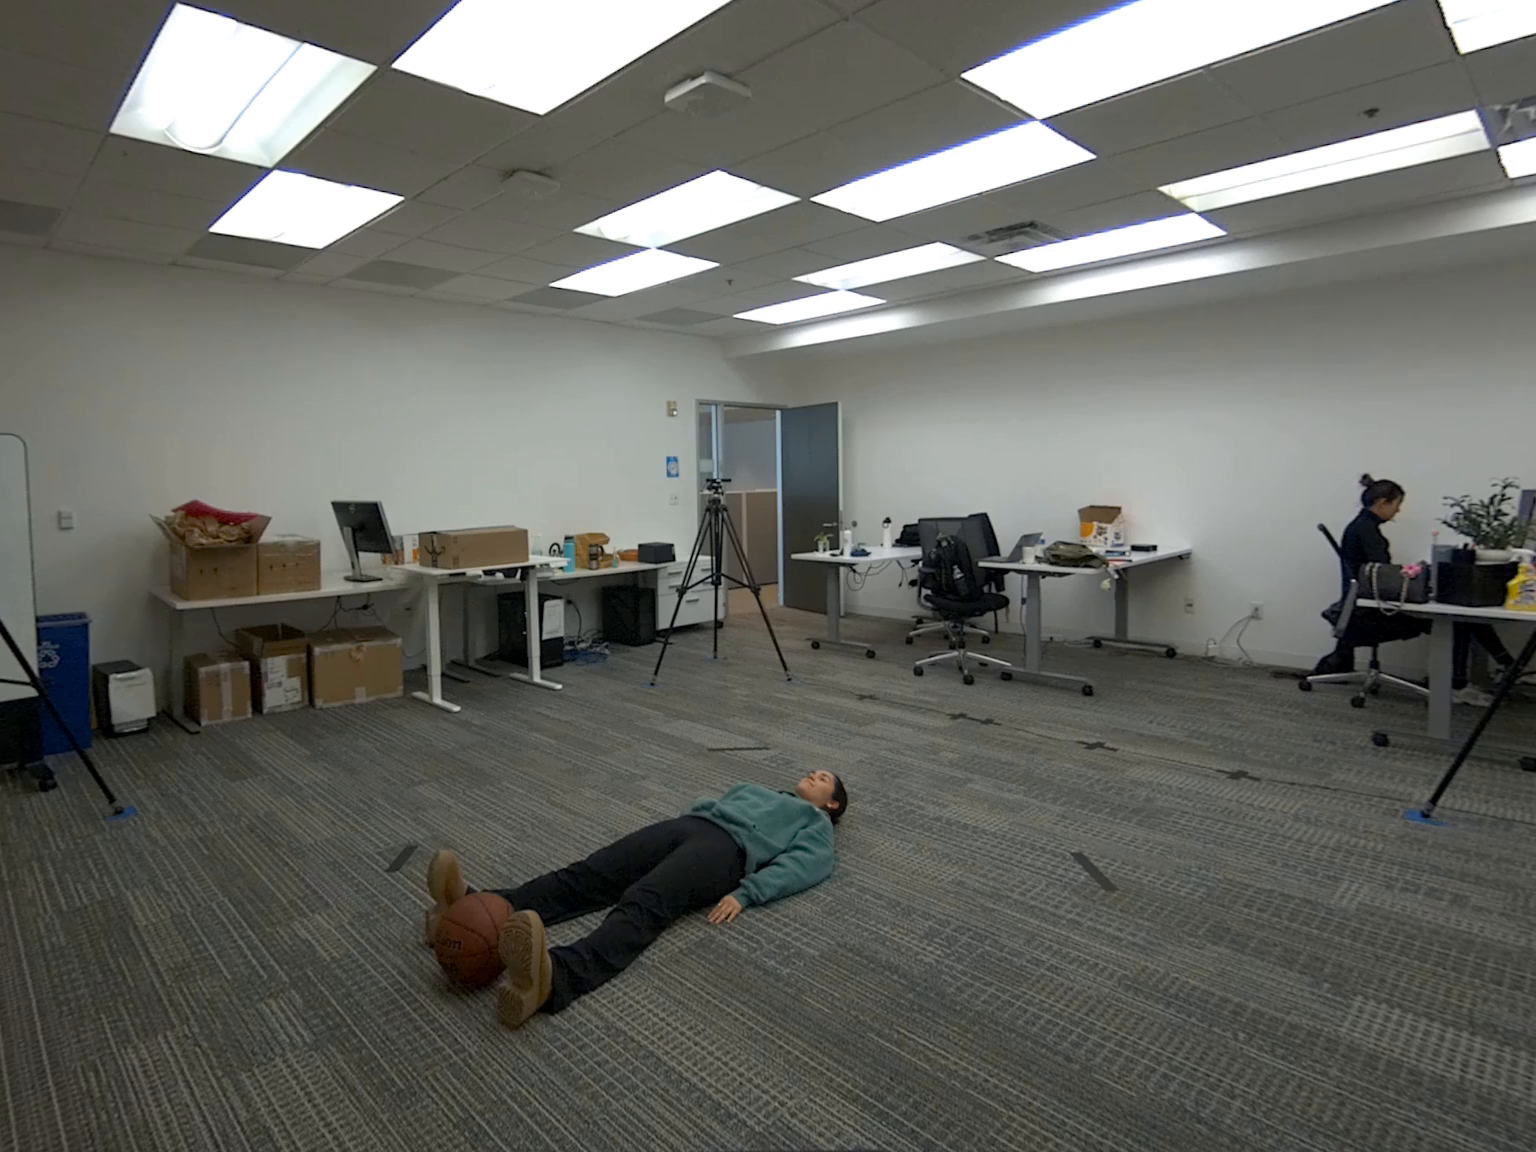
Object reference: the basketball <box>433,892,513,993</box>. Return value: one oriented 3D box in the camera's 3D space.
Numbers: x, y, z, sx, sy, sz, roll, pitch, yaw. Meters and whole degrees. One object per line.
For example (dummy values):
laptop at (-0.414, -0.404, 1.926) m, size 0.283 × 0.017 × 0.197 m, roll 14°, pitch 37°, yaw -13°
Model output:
basketball at (-0.807, 1.023, 2.419) m, size 0.236 × 0.235 × 0.237 m, roll -1°, pitch 4°, yaw -2°
